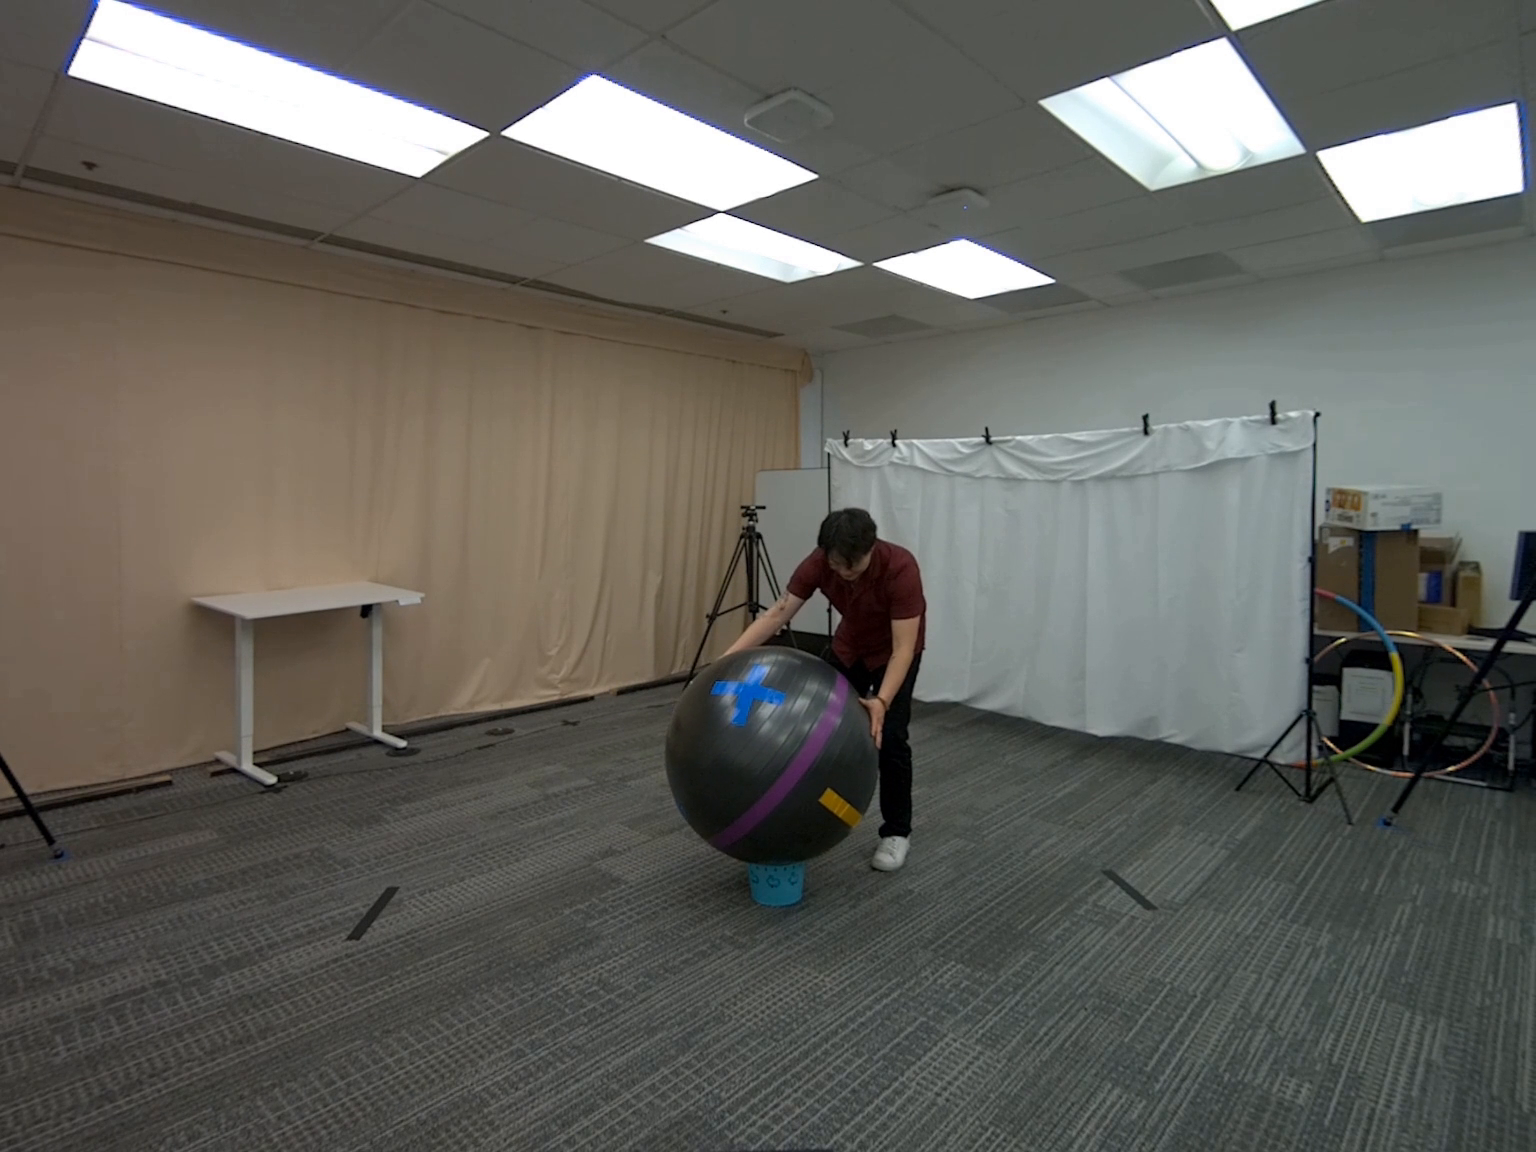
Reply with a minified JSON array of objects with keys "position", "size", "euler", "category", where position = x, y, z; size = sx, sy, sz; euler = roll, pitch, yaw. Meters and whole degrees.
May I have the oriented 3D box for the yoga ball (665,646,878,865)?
[{"position":[0.007,0.637,3.003],"size":[0.757,0.756,0.760],"euler":[0,4,-2],"category":"yoga ball"}]
